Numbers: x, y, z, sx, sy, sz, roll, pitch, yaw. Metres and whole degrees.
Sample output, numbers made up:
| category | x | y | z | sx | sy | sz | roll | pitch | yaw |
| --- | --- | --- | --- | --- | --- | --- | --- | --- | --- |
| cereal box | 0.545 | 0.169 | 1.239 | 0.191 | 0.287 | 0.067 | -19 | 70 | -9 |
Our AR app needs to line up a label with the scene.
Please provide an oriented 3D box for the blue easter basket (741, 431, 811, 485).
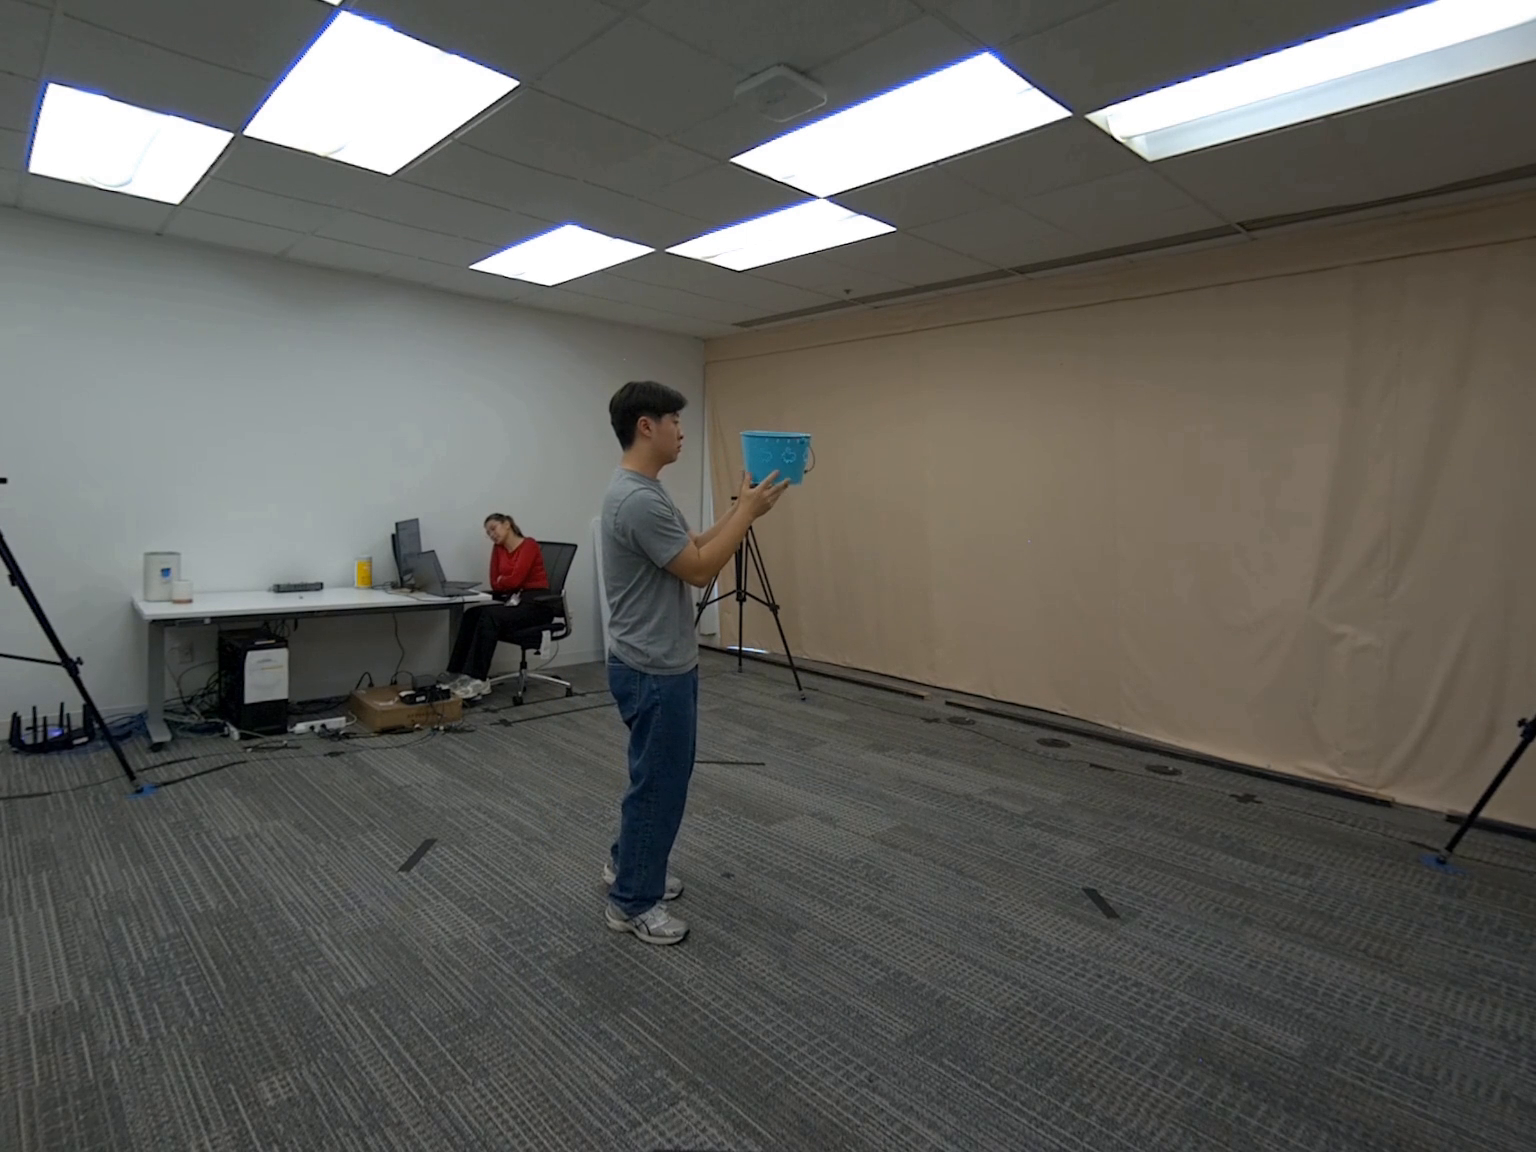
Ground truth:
| category | x | y | z | sx | sy | sz | roll | pitch | yaw |
| --- | --- | --- | --- | --- | --- | --- | --- | --- | --- |
| blue easter basket | 0.016 | -0.372 | 2.665 | 0.243 | 0.154 | 0.246 | 3 | 13 | -2 |
